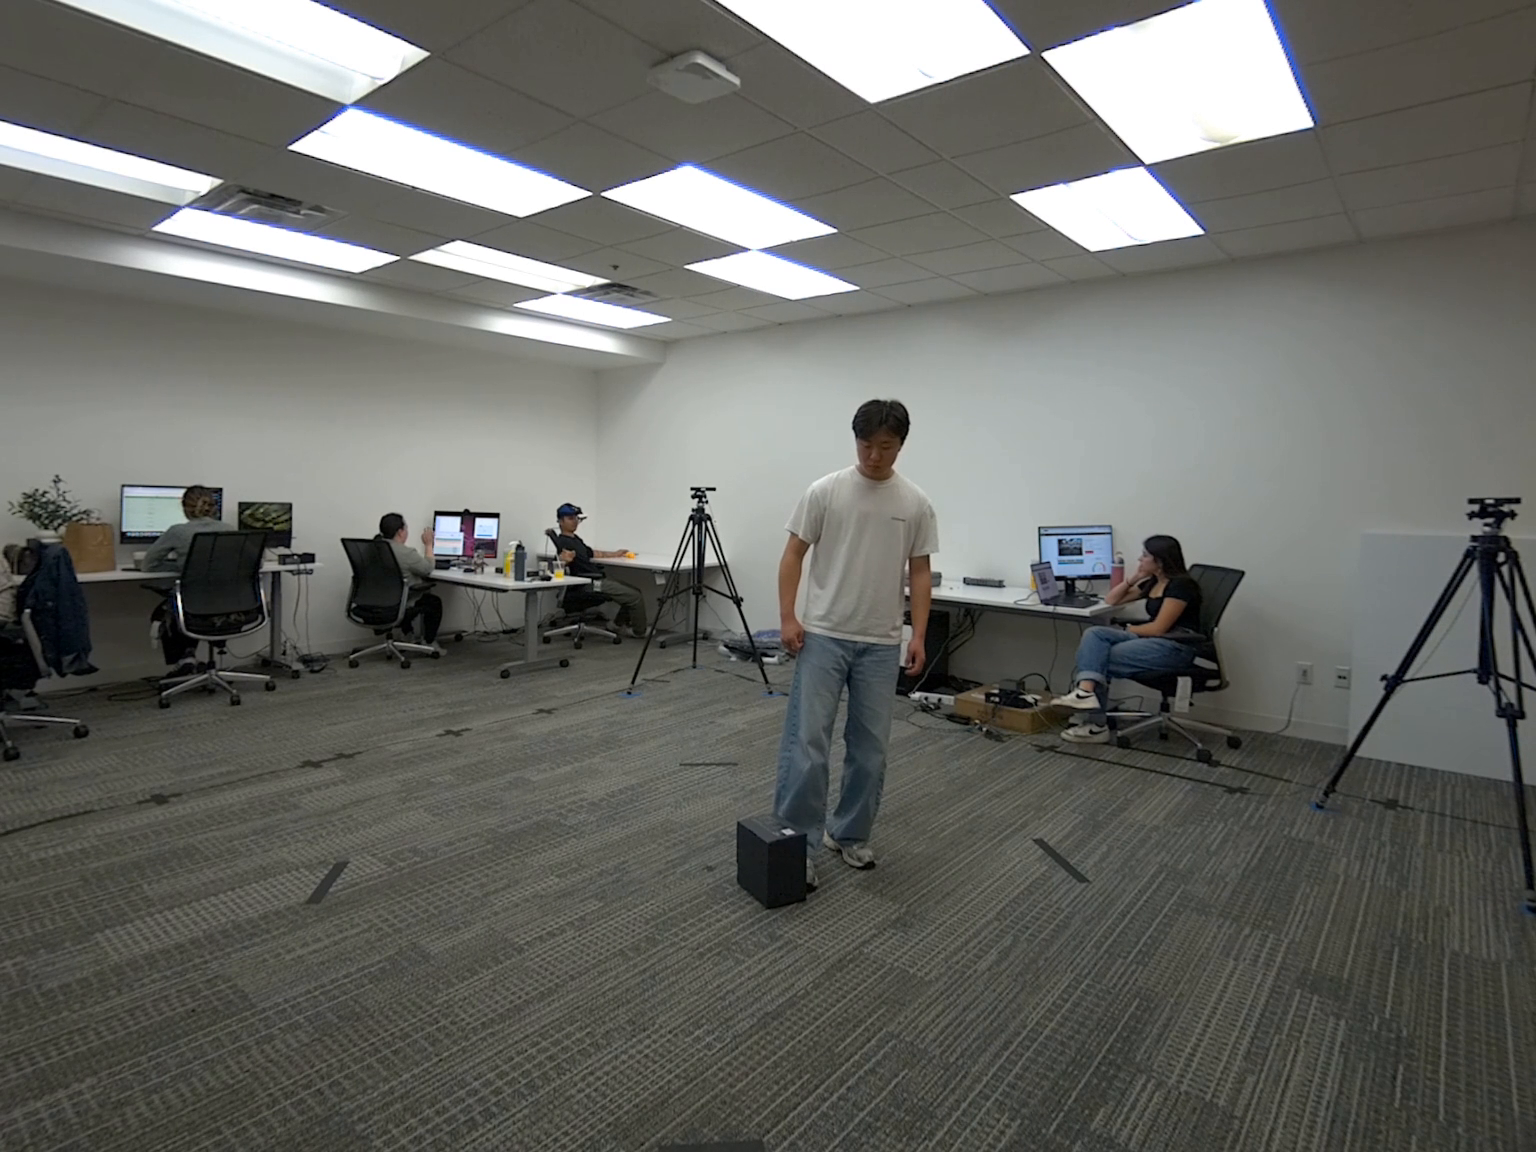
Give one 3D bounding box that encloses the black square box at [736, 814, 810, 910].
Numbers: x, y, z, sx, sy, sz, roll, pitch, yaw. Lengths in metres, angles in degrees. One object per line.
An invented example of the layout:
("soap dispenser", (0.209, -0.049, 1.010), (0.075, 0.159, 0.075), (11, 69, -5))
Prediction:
("black square box", (0.002, 0.967, 2.927), (0.152, 0.227, 0.223), (-1, 4, -29))
